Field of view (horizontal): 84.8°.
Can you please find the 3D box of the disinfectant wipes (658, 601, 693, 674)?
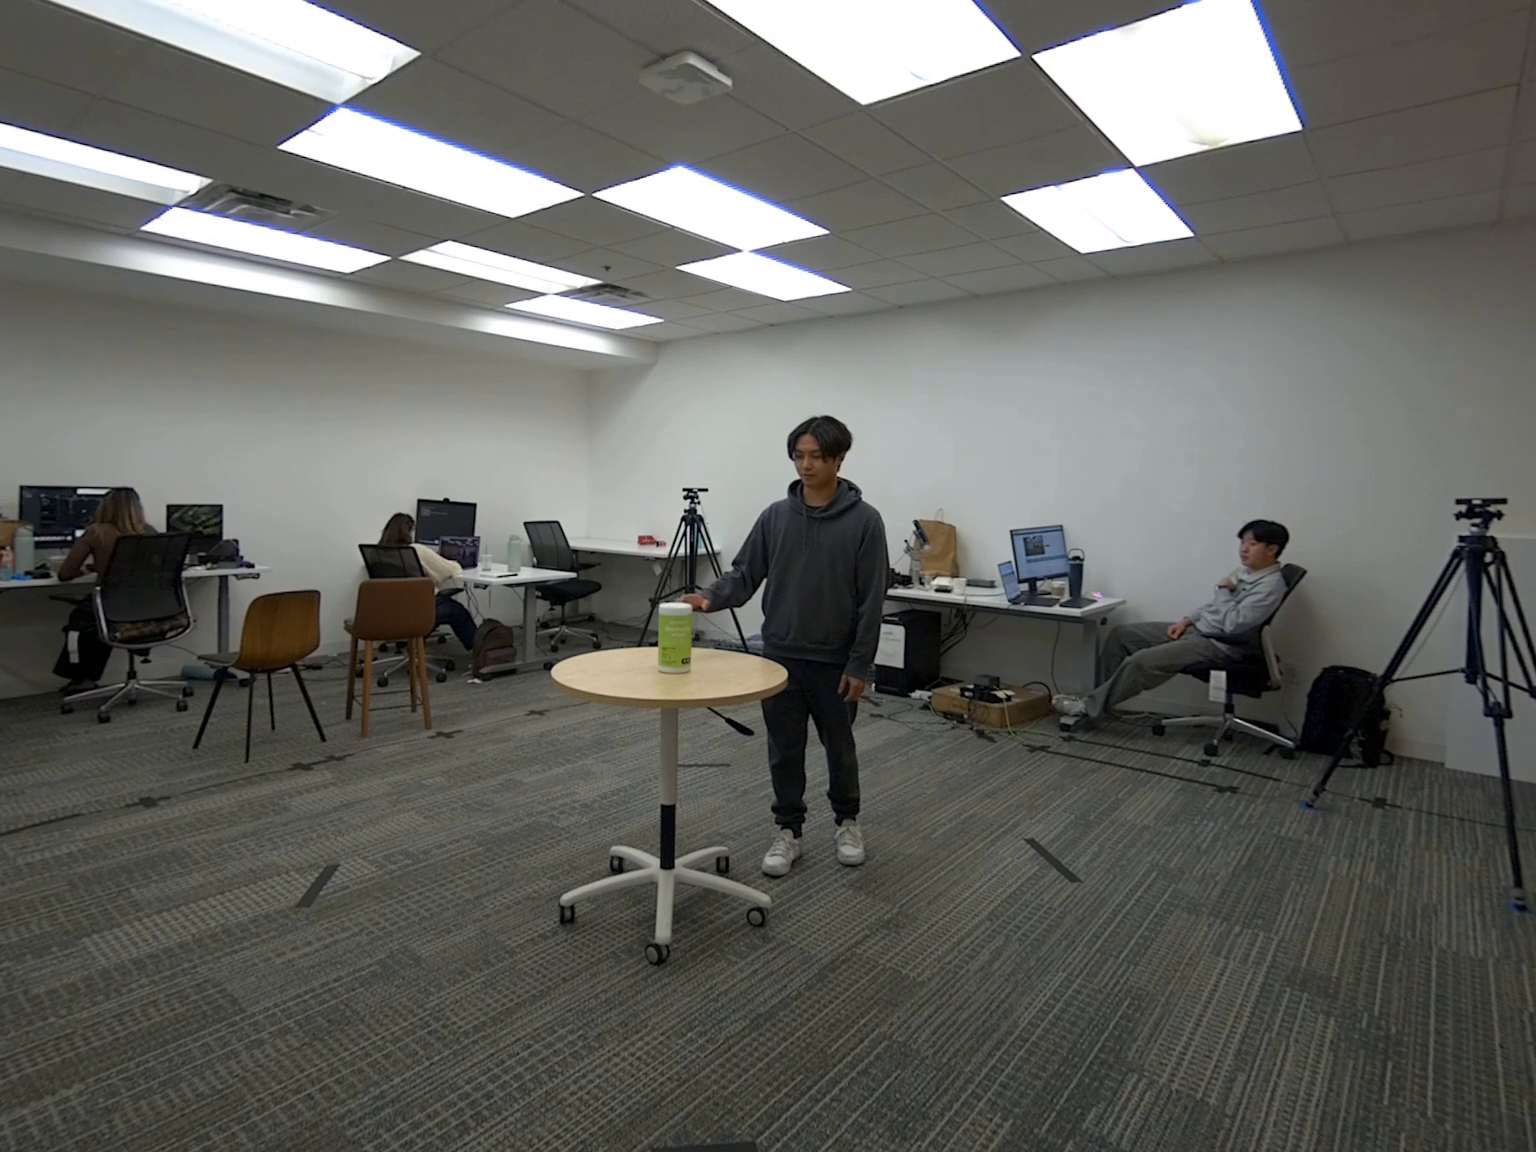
[{"bbox_3d":[-0.313,0.196,2.760,0.118,0.217,0.118,1,3,-2],"label":"disinfectant wipes"}]
